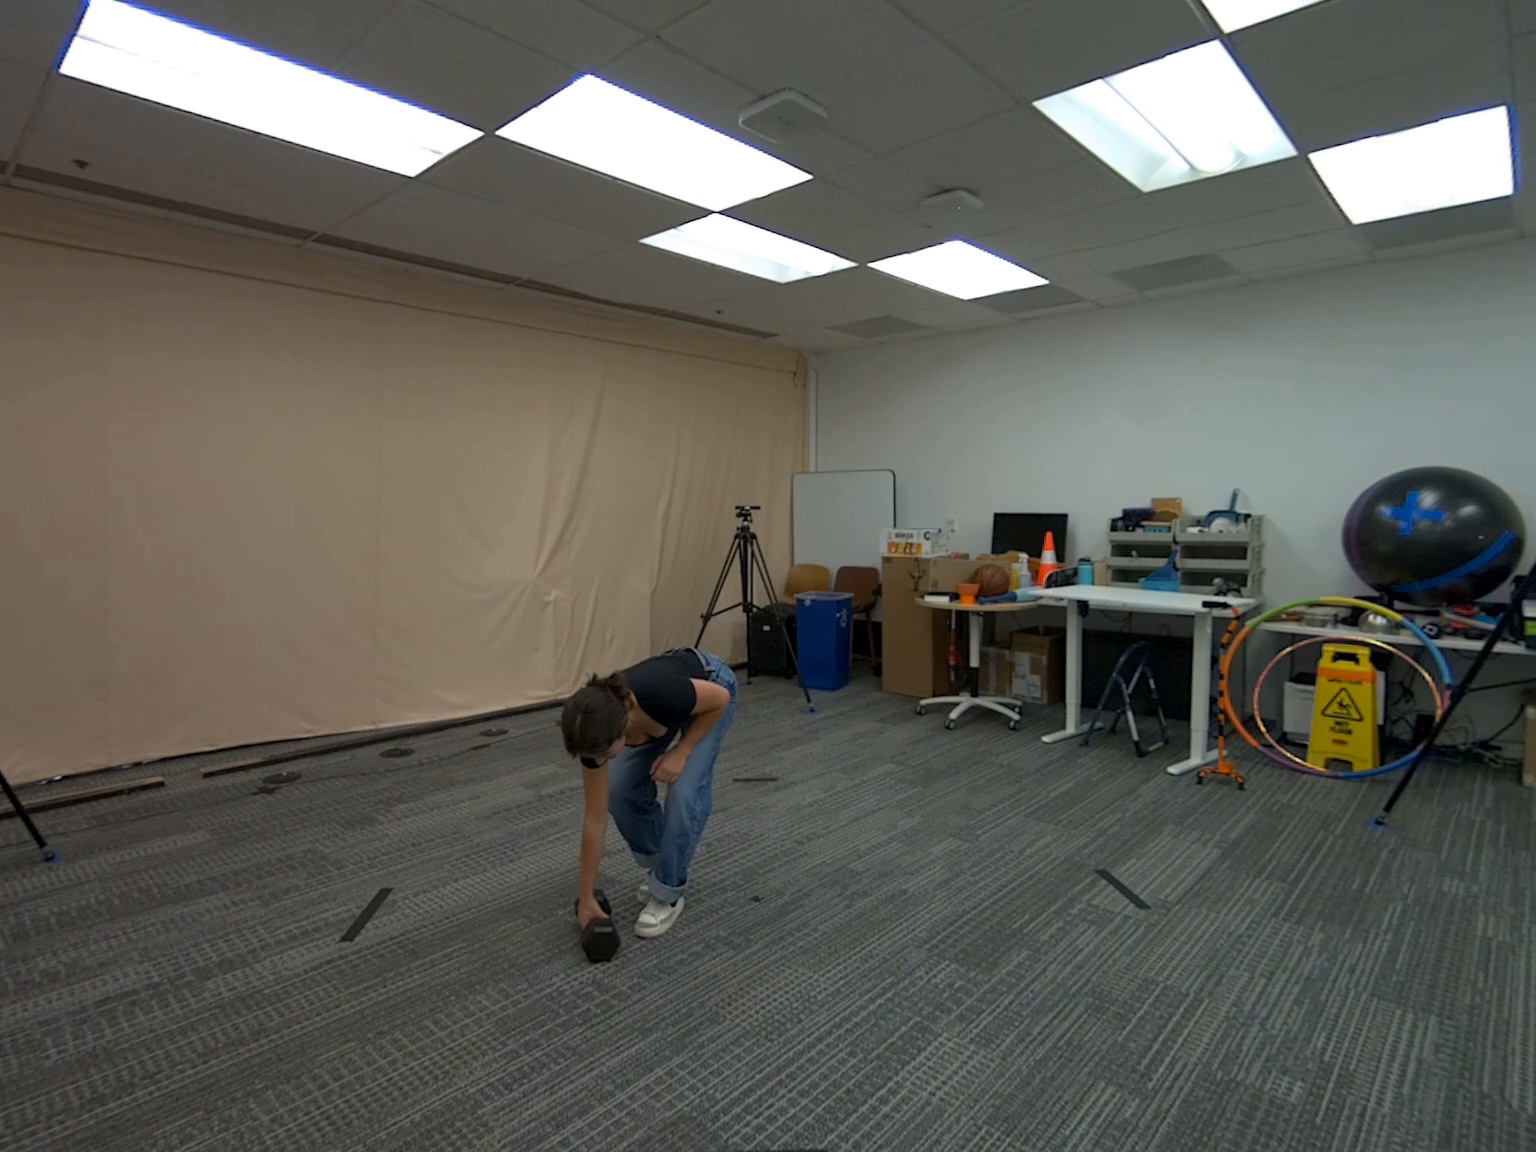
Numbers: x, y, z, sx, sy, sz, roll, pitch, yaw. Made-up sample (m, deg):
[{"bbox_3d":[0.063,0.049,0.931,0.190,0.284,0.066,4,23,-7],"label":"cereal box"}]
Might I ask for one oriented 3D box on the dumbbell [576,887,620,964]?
[{"bbox_3d":[-0.551,1.115,2.698,0.108,0.122,0.299,-25,11,-13],"label":"dumbbell"}]
